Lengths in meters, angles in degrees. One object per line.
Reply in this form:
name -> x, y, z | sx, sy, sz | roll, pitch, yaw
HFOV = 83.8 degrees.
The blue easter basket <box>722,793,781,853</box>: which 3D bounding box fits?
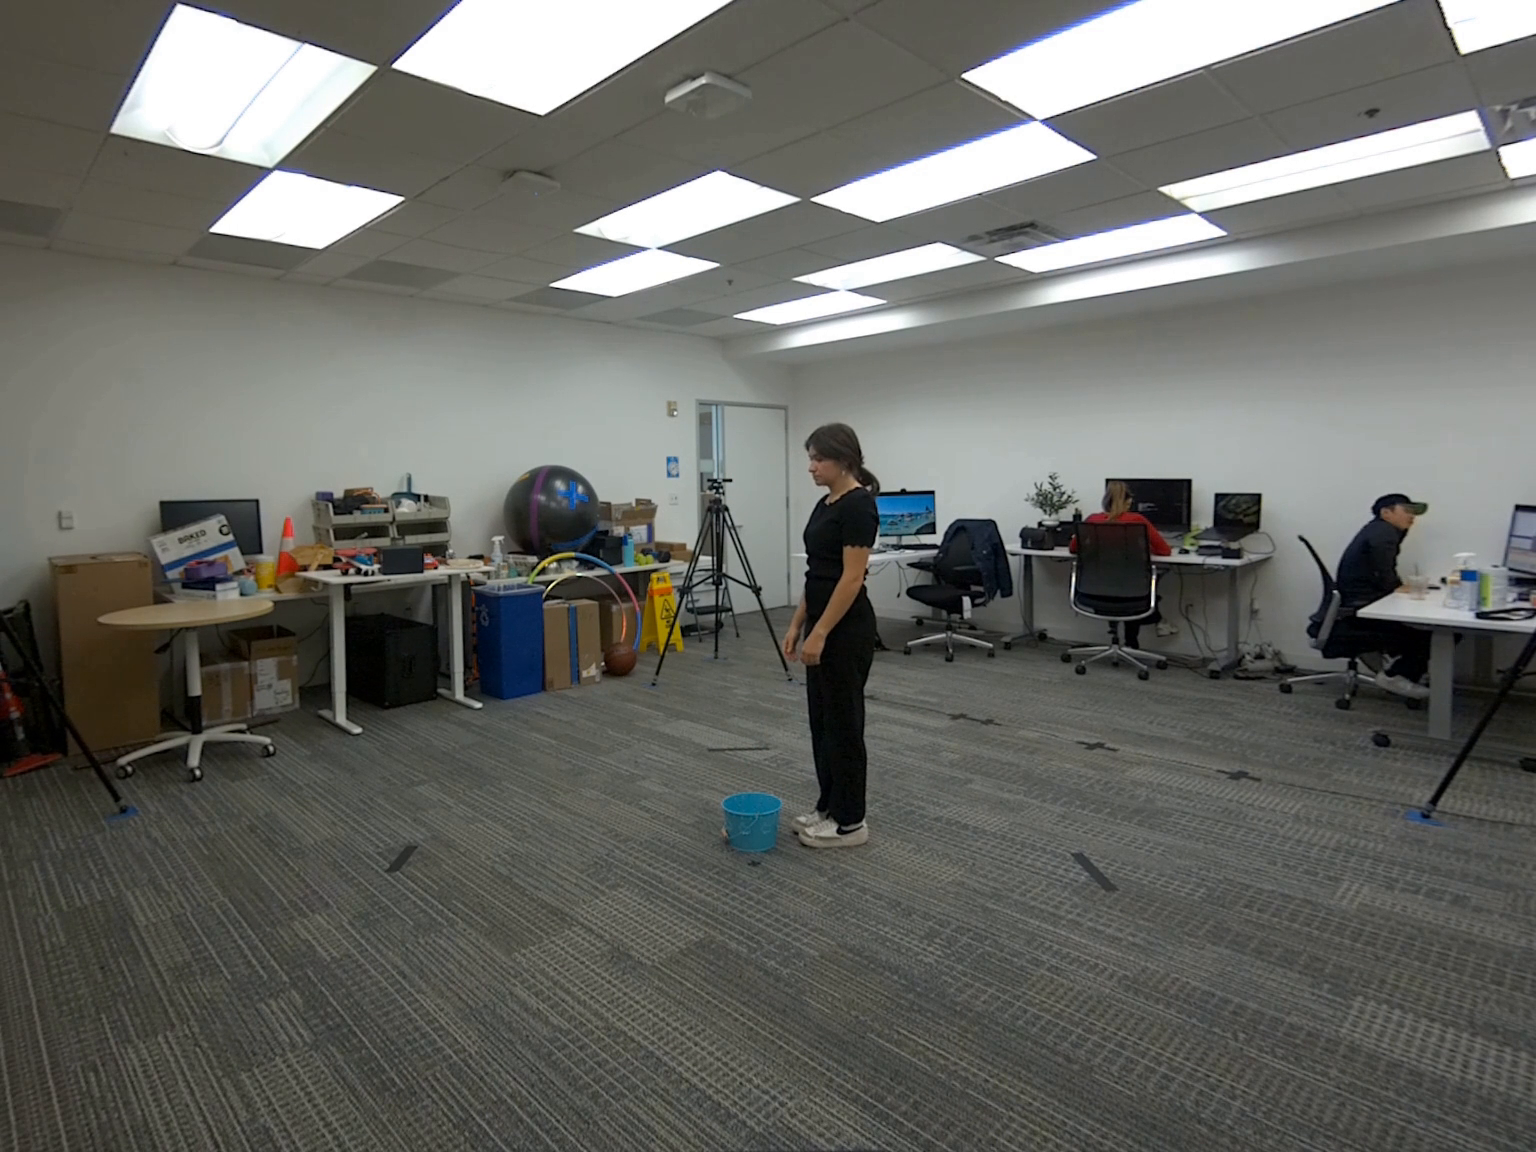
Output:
blue easter basket -> -0.063, 0.947, 3.292 | 0.243, 0.155, 0.245 | -1, 5, -2
